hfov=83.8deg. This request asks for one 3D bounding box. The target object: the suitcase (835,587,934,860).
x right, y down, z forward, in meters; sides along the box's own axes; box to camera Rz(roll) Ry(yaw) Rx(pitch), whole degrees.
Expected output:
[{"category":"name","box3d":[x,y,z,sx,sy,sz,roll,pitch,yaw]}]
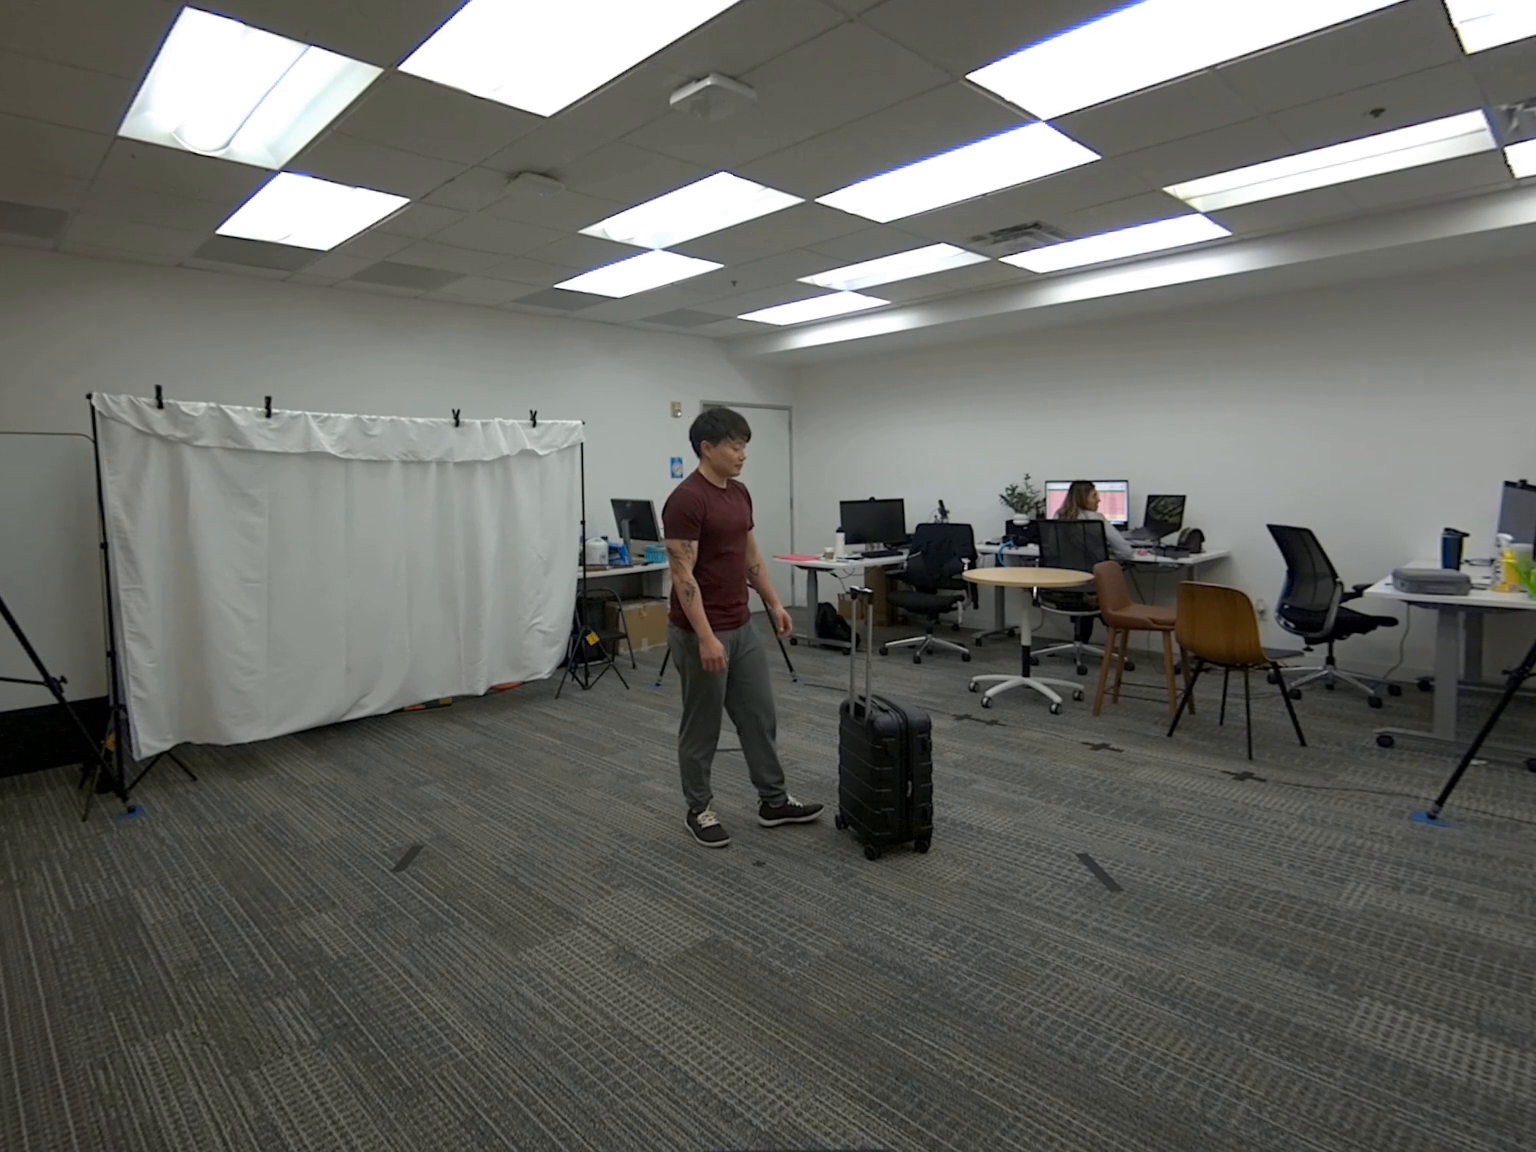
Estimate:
[{"category":"suitcase","box3d":[0.451,0.545,3.267,0.253,0.976,0.391,0,4,-17]}]
